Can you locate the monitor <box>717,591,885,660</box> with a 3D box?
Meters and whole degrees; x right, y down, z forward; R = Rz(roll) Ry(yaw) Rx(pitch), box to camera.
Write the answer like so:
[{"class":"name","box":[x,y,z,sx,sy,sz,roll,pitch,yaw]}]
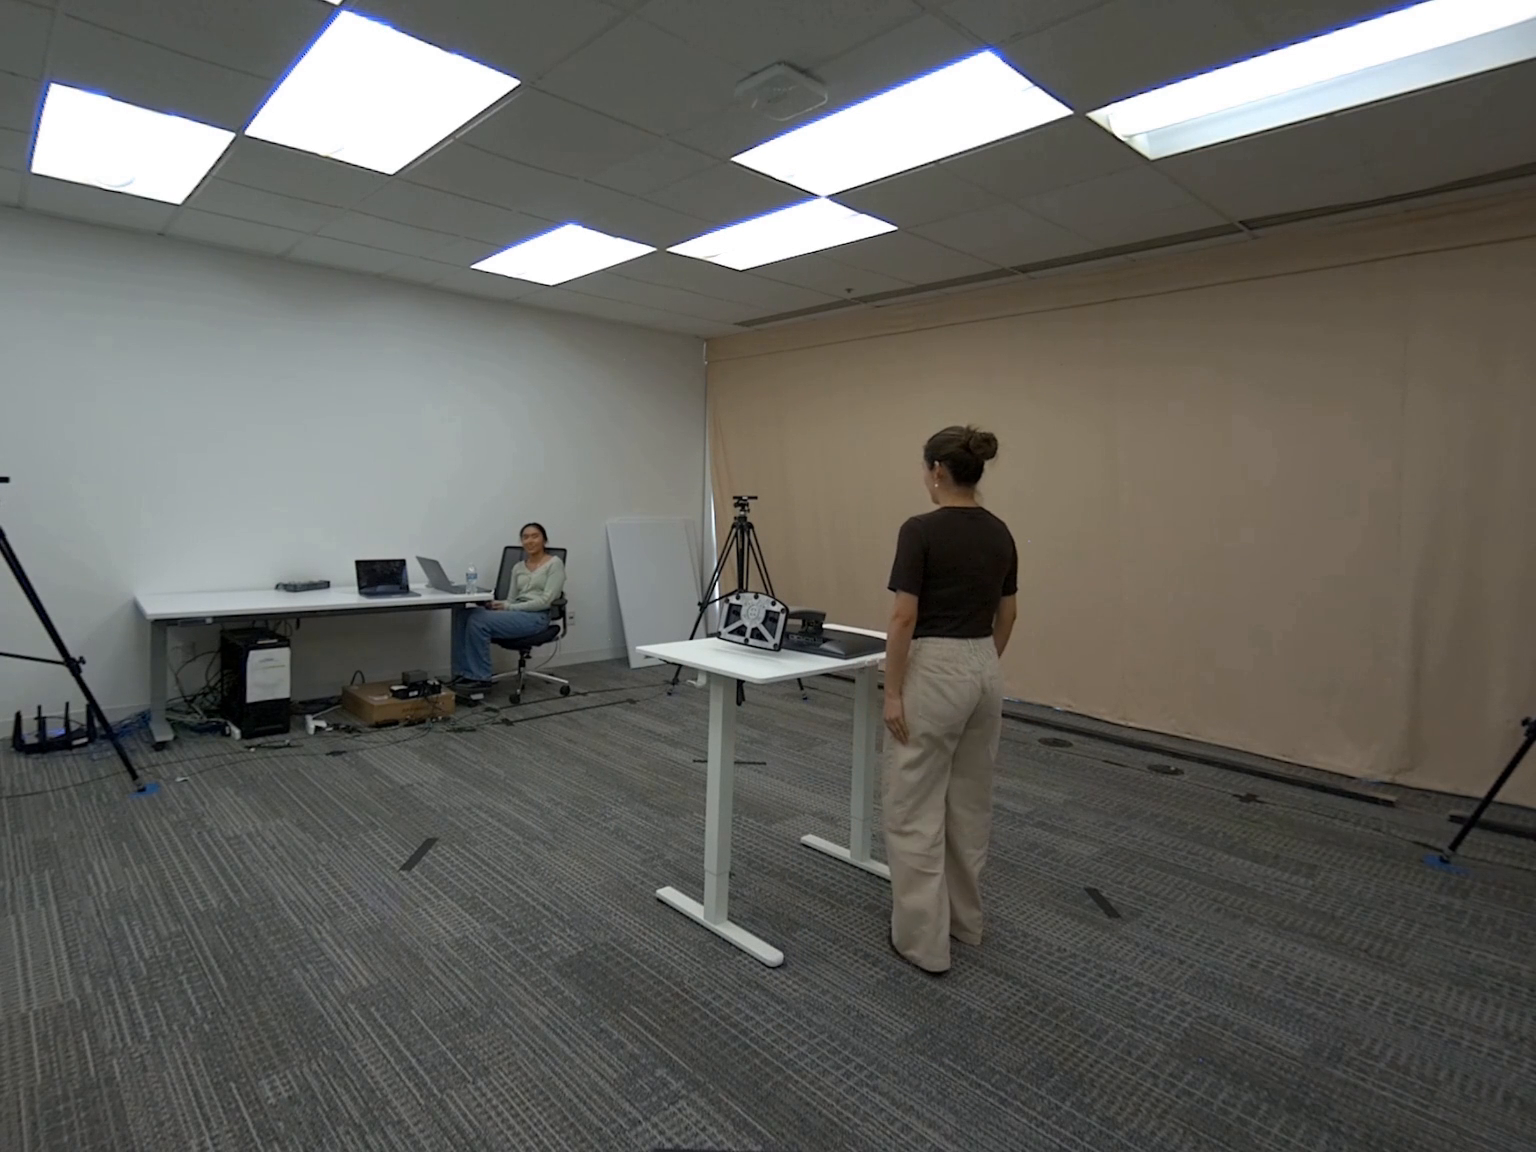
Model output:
[{"class":"monitor","box":[0.091,0.188,2.930,0.553,0.187,0.507,9,-5,42]}]
